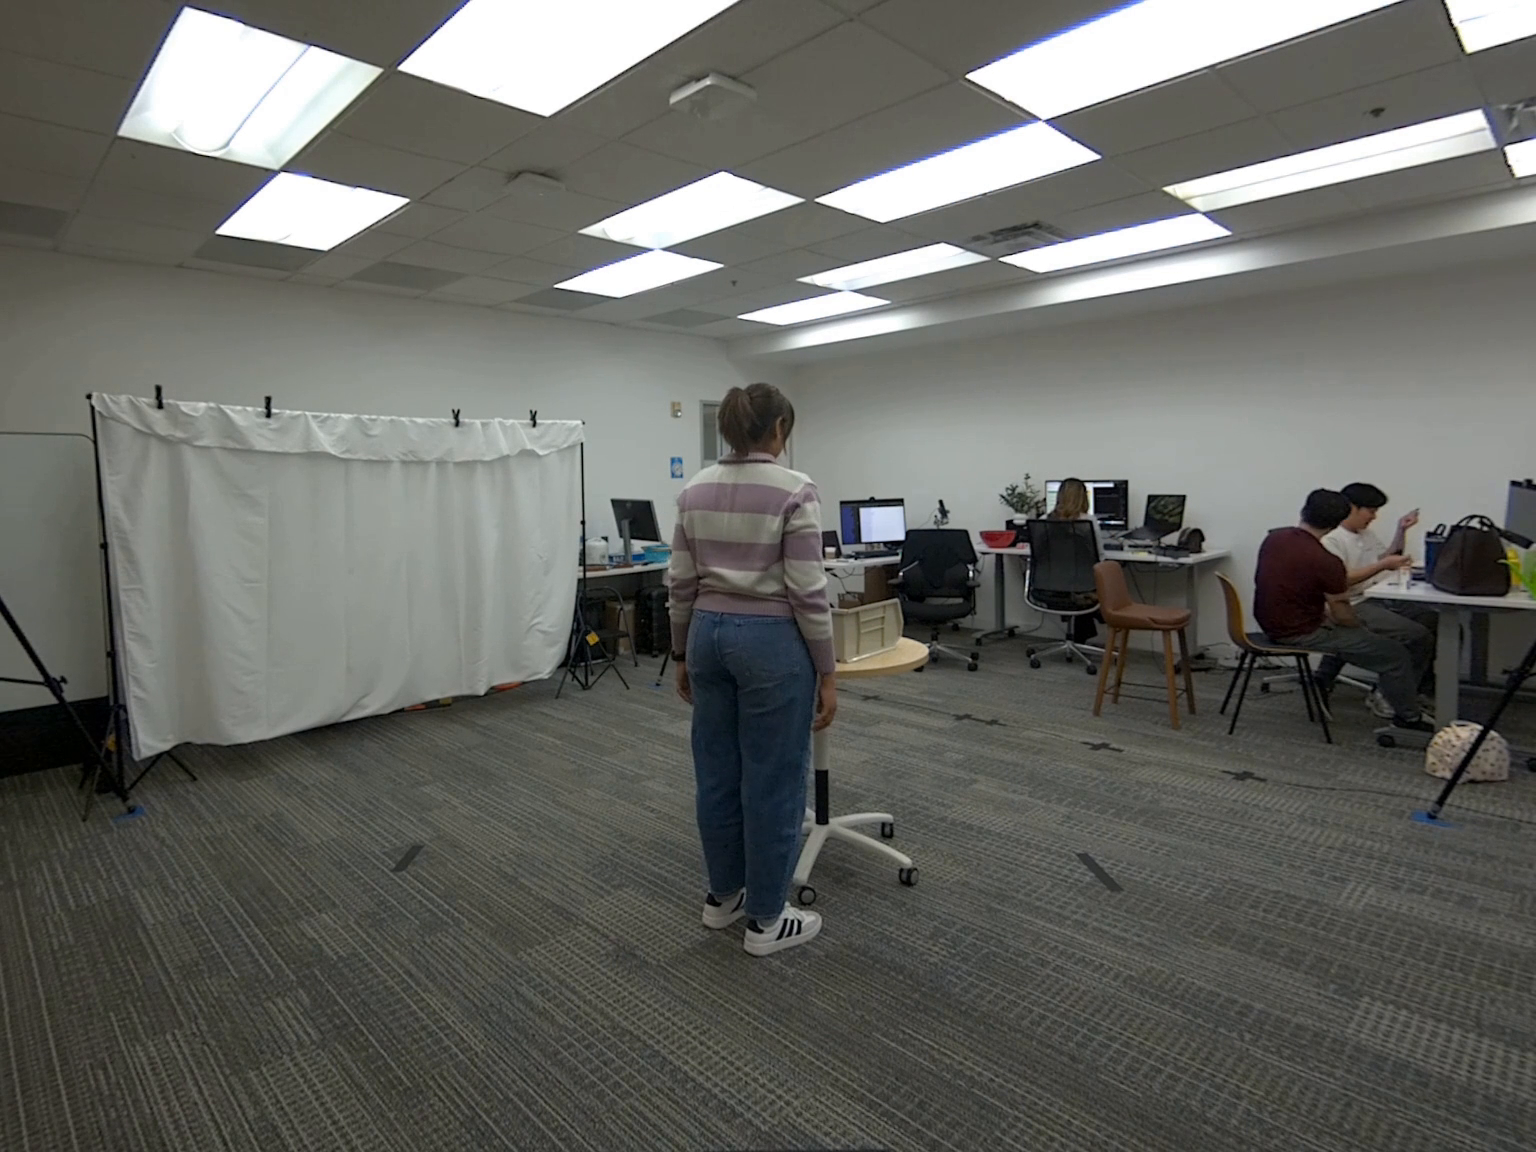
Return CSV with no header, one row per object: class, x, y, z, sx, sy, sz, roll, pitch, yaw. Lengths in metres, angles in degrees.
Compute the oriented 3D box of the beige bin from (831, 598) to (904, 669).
beige bin,0.209,0.171,3.063,0.435,0.188,0.368,4,9,39
